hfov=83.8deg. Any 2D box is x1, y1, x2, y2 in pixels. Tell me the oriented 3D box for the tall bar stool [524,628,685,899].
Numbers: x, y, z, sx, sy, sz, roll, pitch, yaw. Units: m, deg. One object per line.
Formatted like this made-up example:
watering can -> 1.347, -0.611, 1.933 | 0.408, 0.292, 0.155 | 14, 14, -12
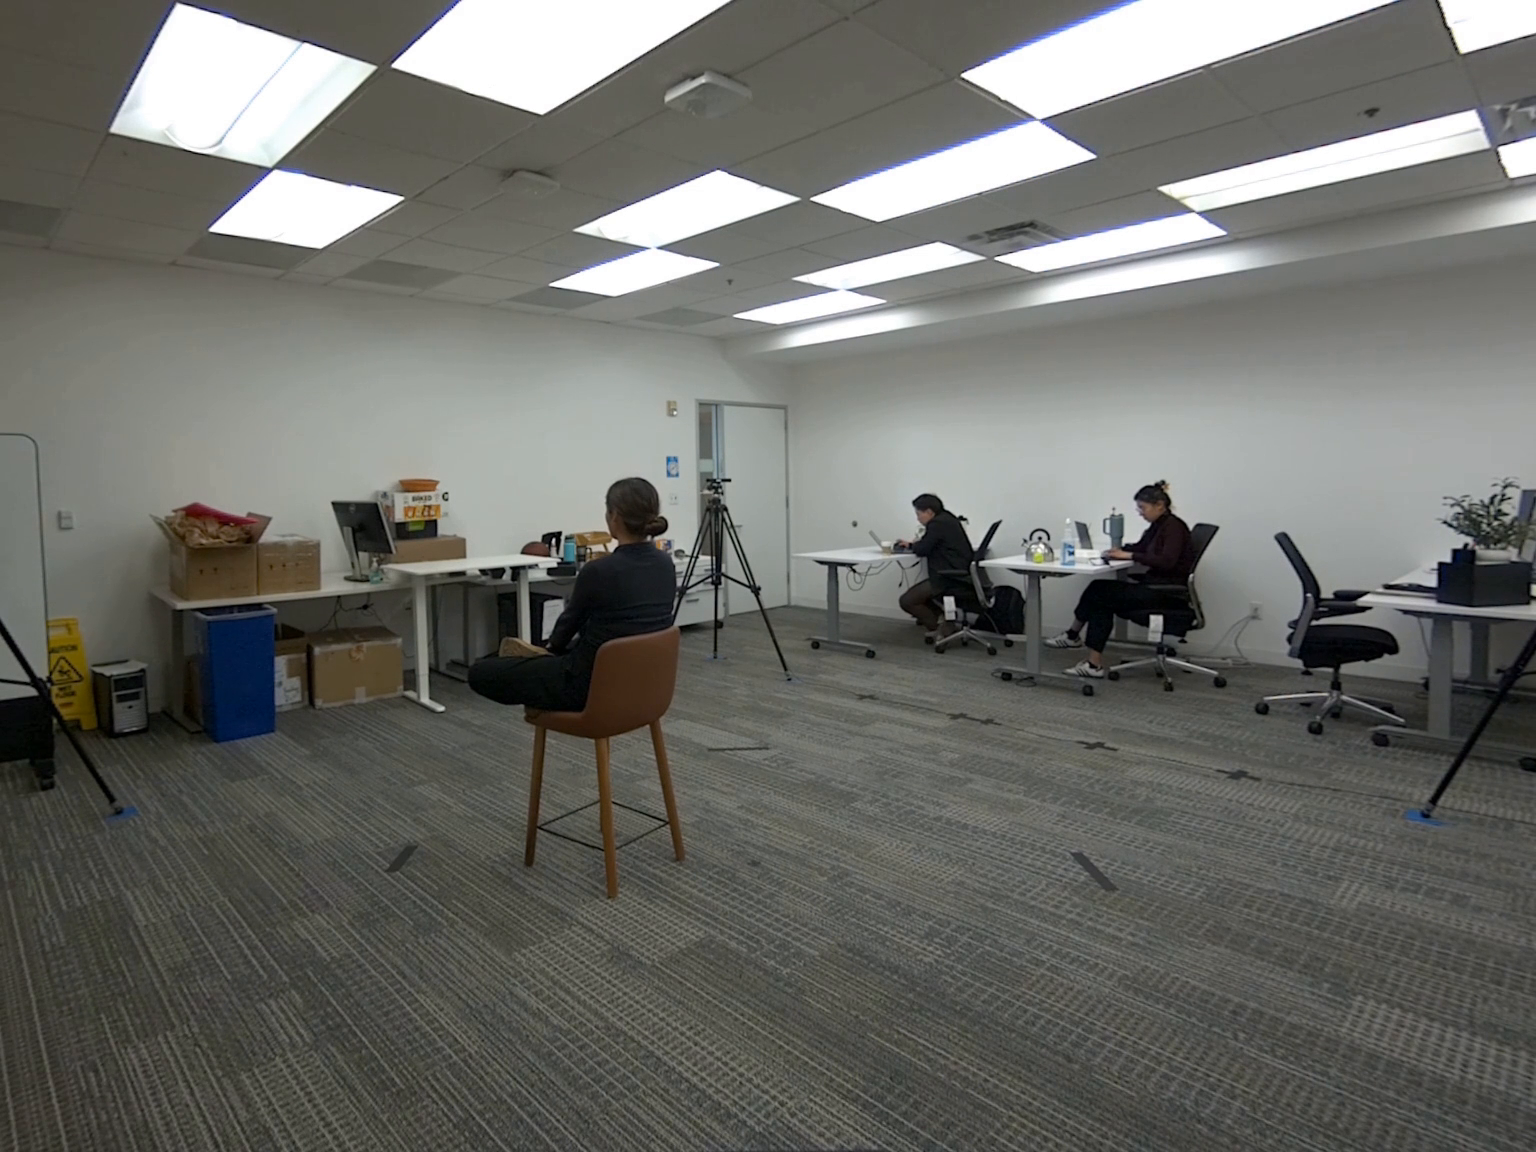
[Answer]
tall bar stool -> -0.594, 0.621, 3.110 | 0.482, 0.885, 0.445 | 5, 7, 37
